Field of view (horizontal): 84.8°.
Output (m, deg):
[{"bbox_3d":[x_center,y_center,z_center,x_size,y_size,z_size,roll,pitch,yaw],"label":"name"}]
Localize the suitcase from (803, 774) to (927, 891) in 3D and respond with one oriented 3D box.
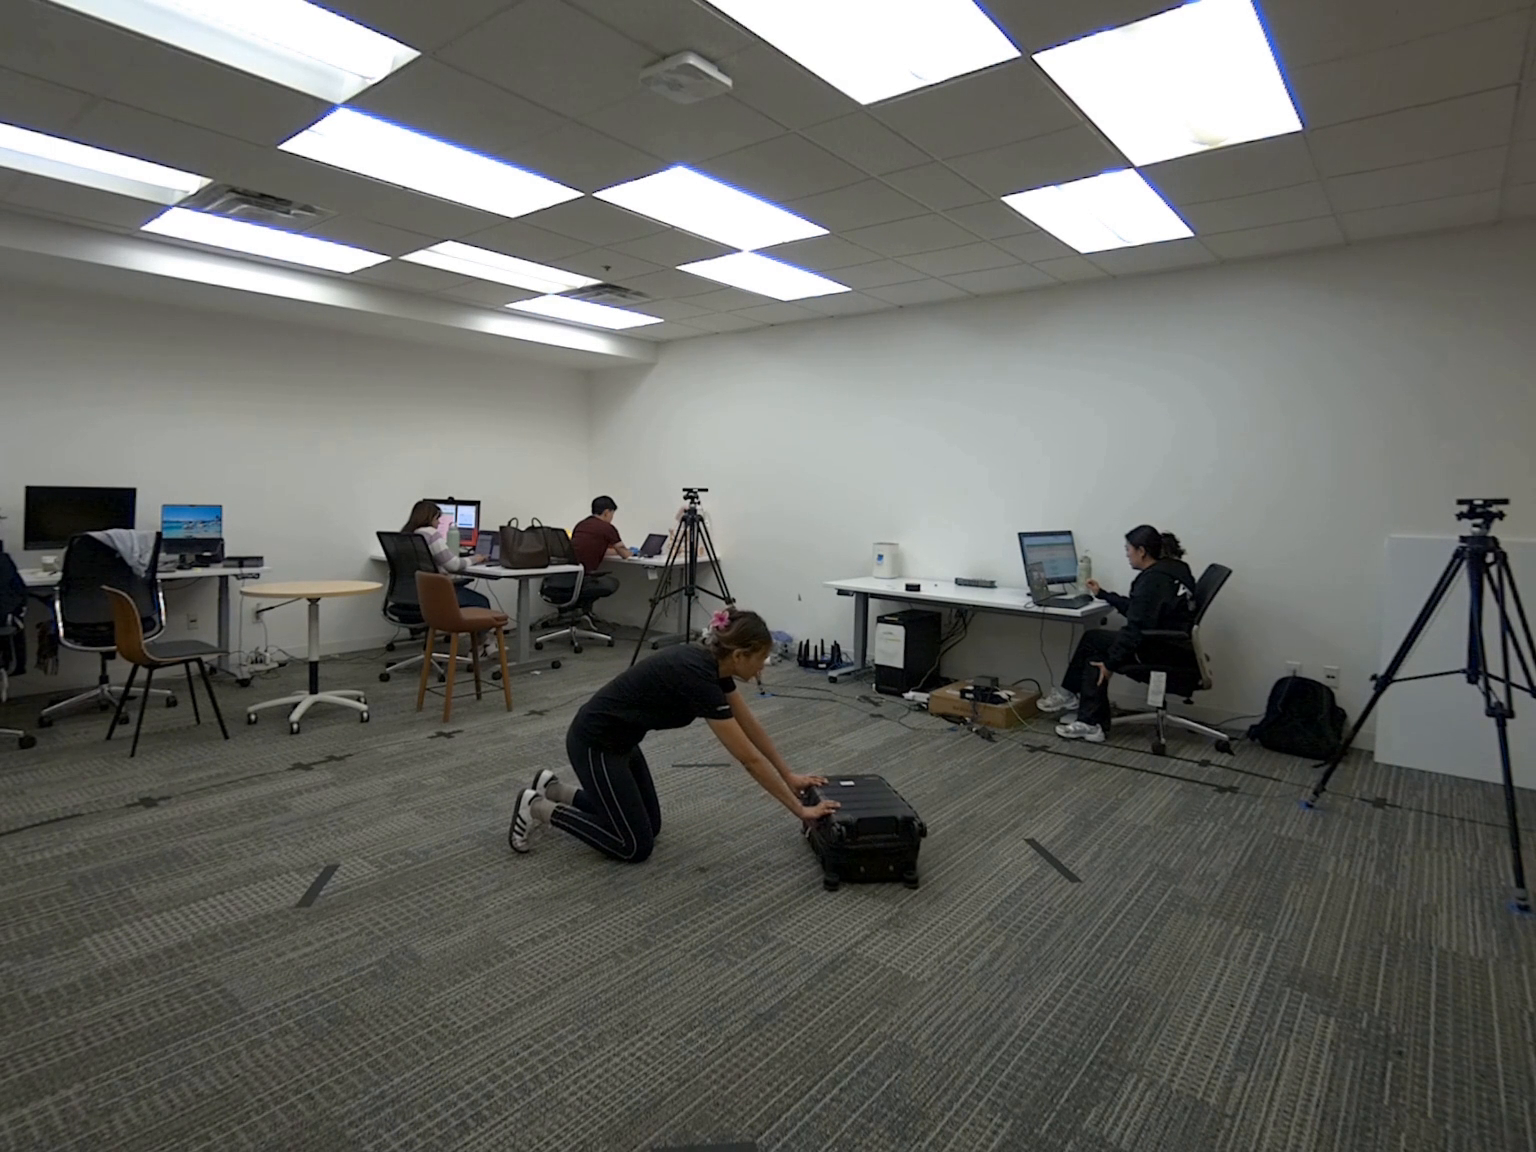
[{"bbox_3d":[0.303,0.927,3.446,0.381,0.255,0.993,-2,7,-9],"label":"suitcase"}]
